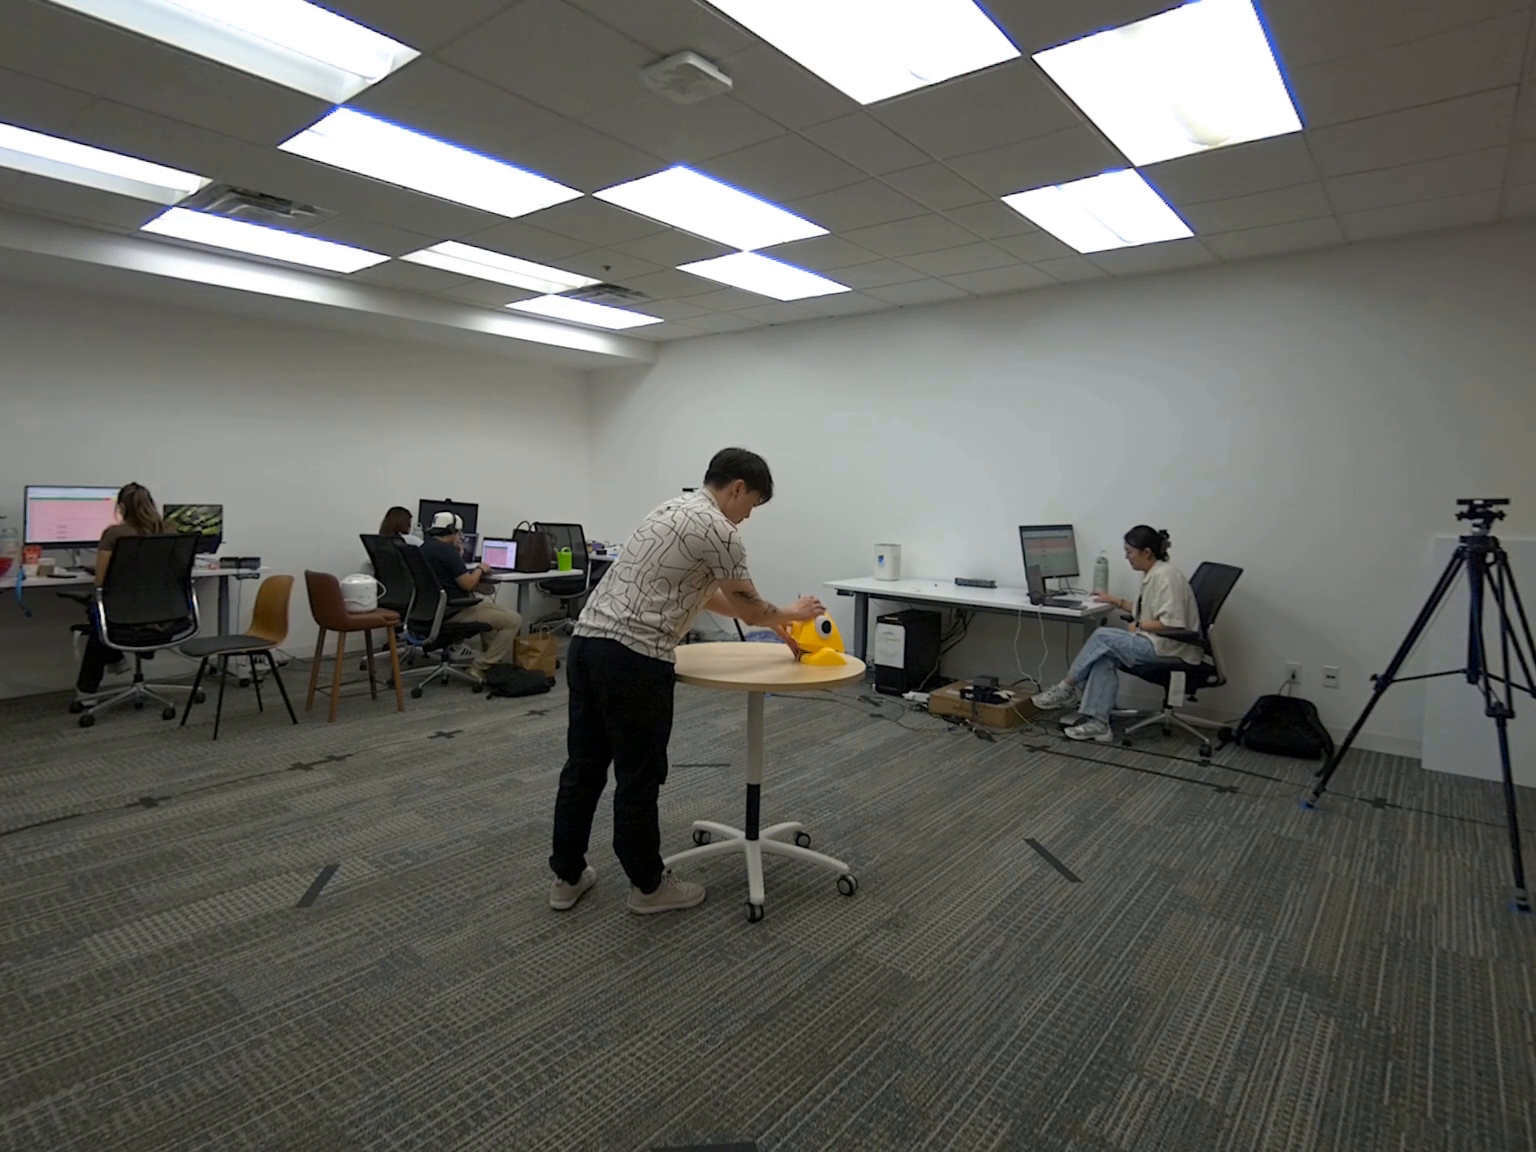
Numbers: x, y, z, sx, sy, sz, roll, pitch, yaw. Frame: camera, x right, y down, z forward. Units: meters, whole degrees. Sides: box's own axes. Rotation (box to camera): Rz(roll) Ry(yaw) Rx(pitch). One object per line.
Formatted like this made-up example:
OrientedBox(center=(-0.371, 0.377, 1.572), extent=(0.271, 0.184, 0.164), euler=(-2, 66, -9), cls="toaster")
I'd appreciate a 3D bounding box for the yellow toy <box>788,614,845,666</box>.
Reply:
OrientedBox(center=(0.179, 0.187, 3.059), extent=(0.191, 0.230, 0.207), euler=(0, 3, -8), cls="yellow toy")
